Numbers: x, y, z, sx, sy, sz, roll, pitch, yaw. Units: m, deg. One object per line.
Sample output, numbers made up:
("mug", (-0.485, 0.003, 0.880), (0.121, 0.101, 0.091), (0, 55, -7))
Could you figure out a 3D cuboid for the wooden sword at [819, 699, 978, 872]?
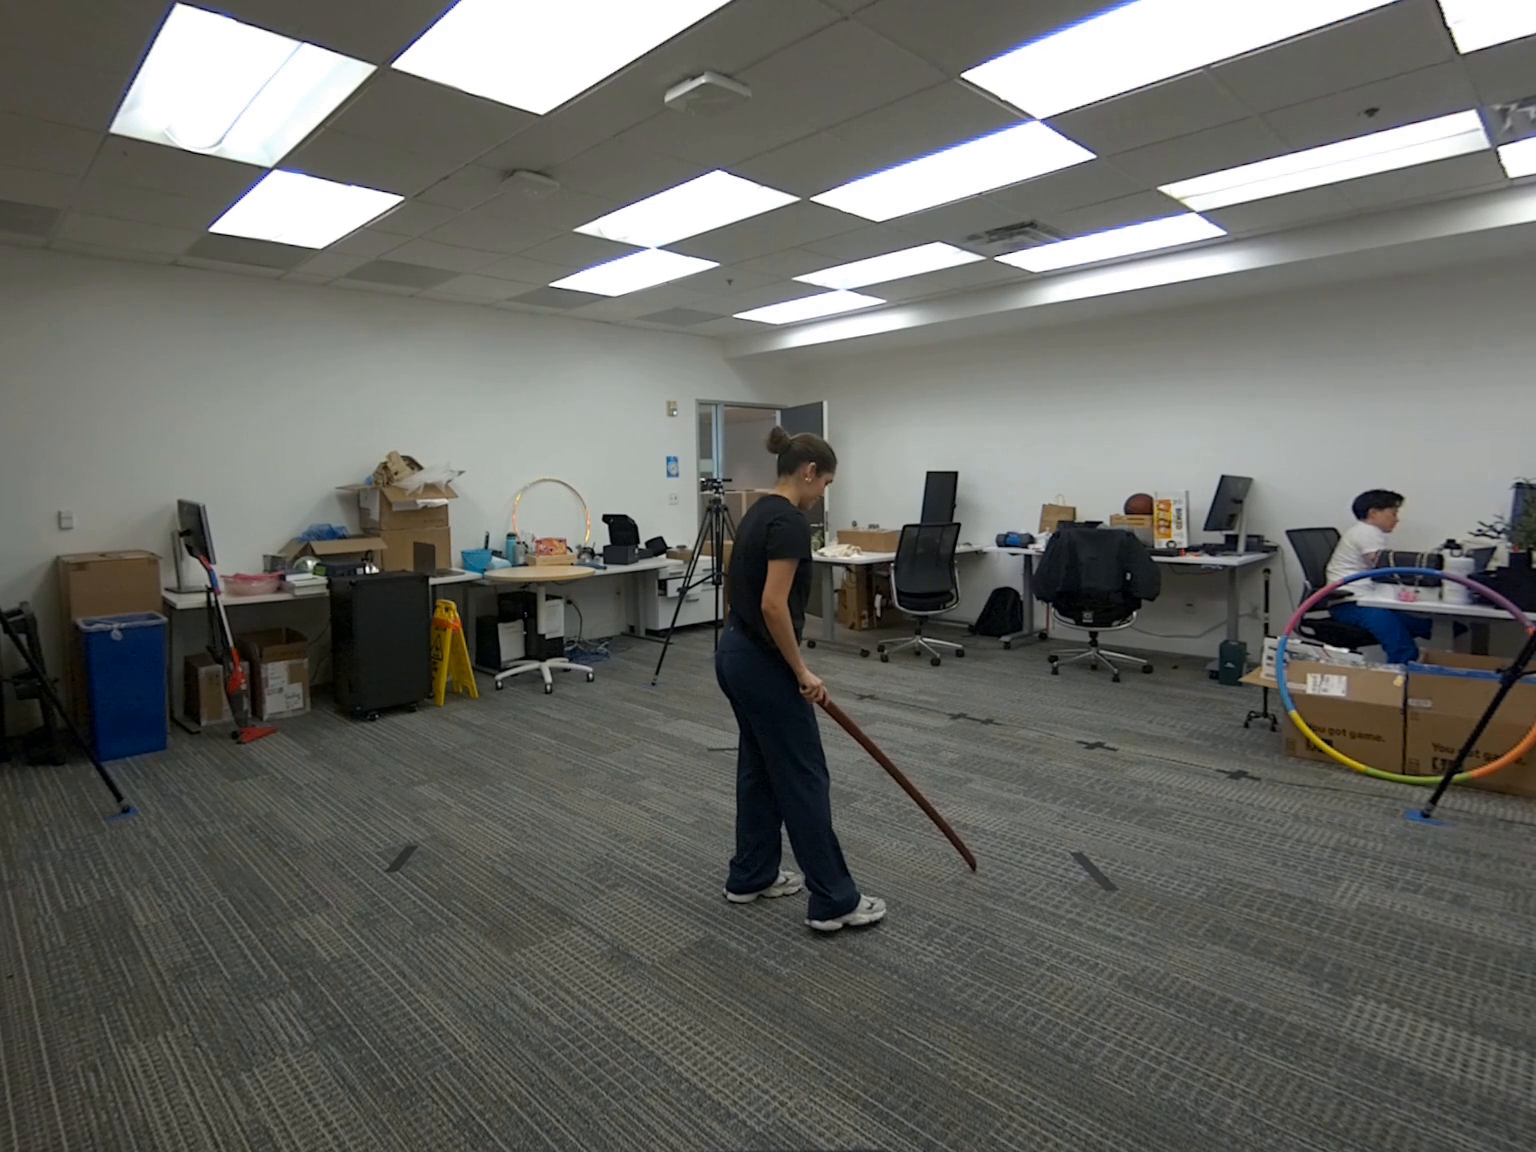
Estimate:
("wooden sword", (0.432, 0.666, 2.848), (0.024, 0.996, 0.053), (-46, 23, -11))
